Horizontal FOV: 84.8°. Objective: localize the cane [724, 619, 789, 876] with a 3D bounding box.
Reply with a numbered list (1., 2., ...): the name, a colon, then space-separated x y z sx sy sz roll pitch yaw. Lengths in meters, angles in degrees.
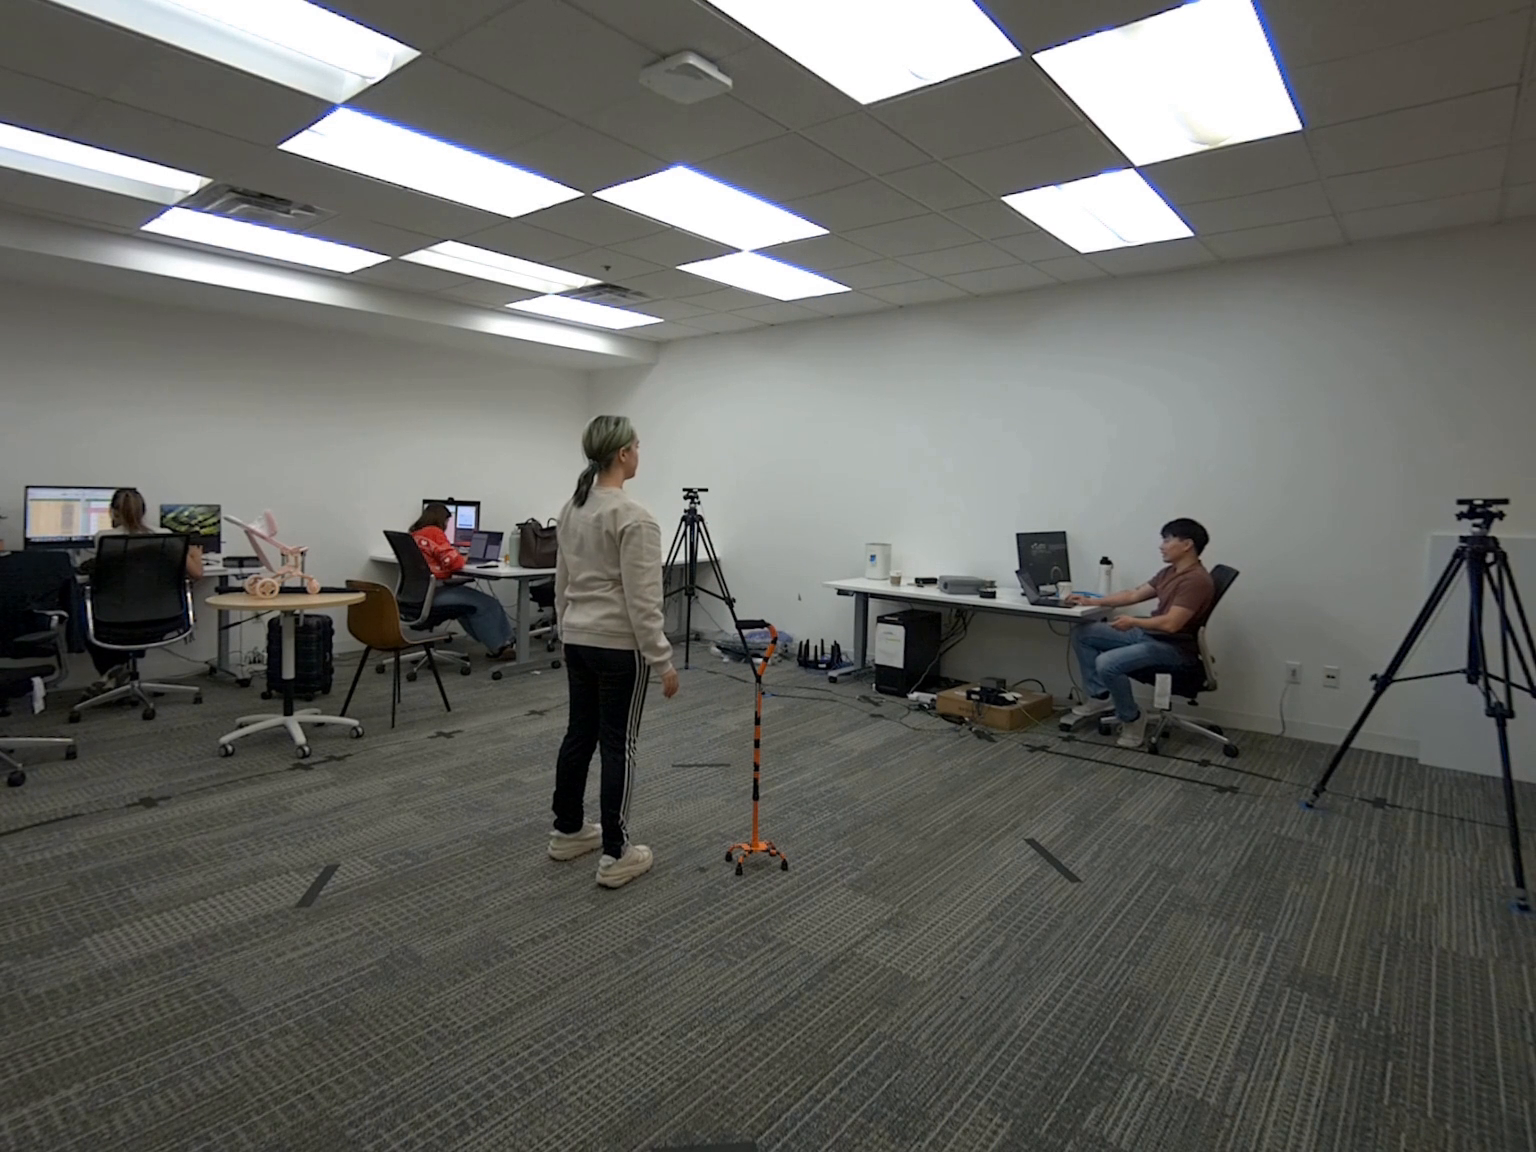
1. cane: -0.038 0.619 3.135 0.203 0.906 0.155 1 3 -17
